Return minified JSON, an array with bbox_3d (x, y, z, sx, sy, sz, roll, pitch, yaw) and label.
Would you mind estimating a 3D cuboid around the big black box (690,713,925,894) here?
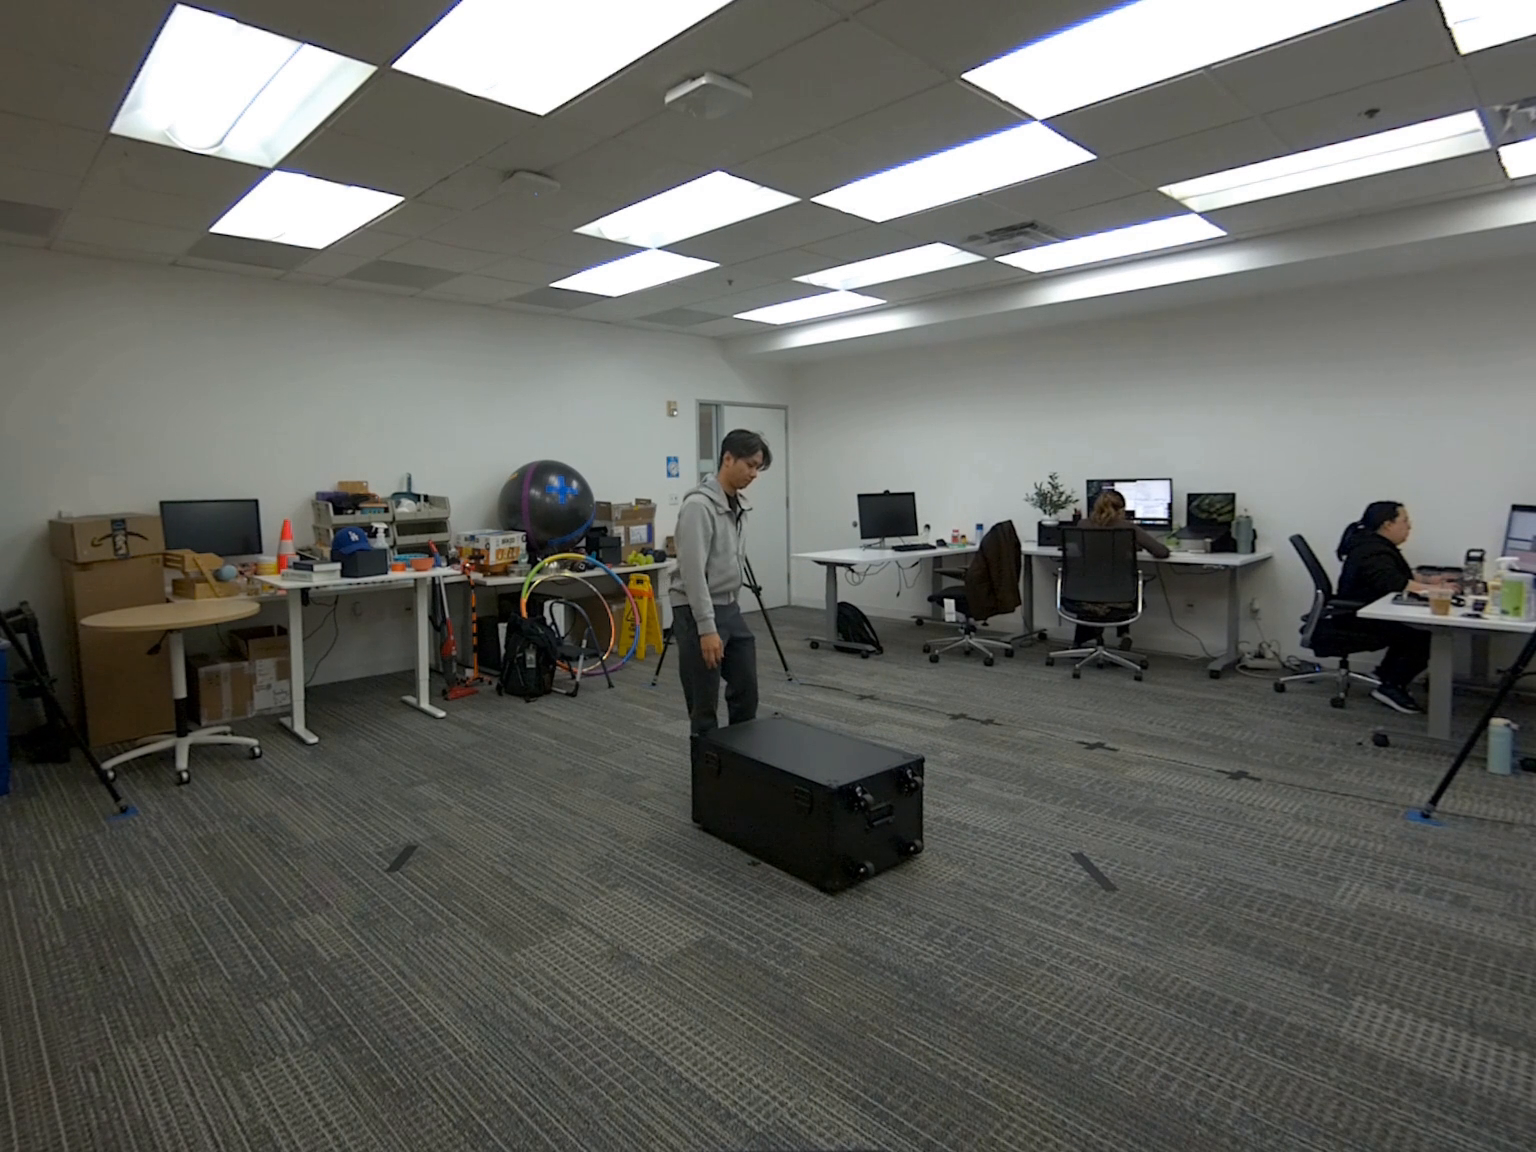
[{"bbox_3d":[0.151,0.836,3.246,0.508,0.395,0.888,-6,7,-41],"label":"big black box"}]
